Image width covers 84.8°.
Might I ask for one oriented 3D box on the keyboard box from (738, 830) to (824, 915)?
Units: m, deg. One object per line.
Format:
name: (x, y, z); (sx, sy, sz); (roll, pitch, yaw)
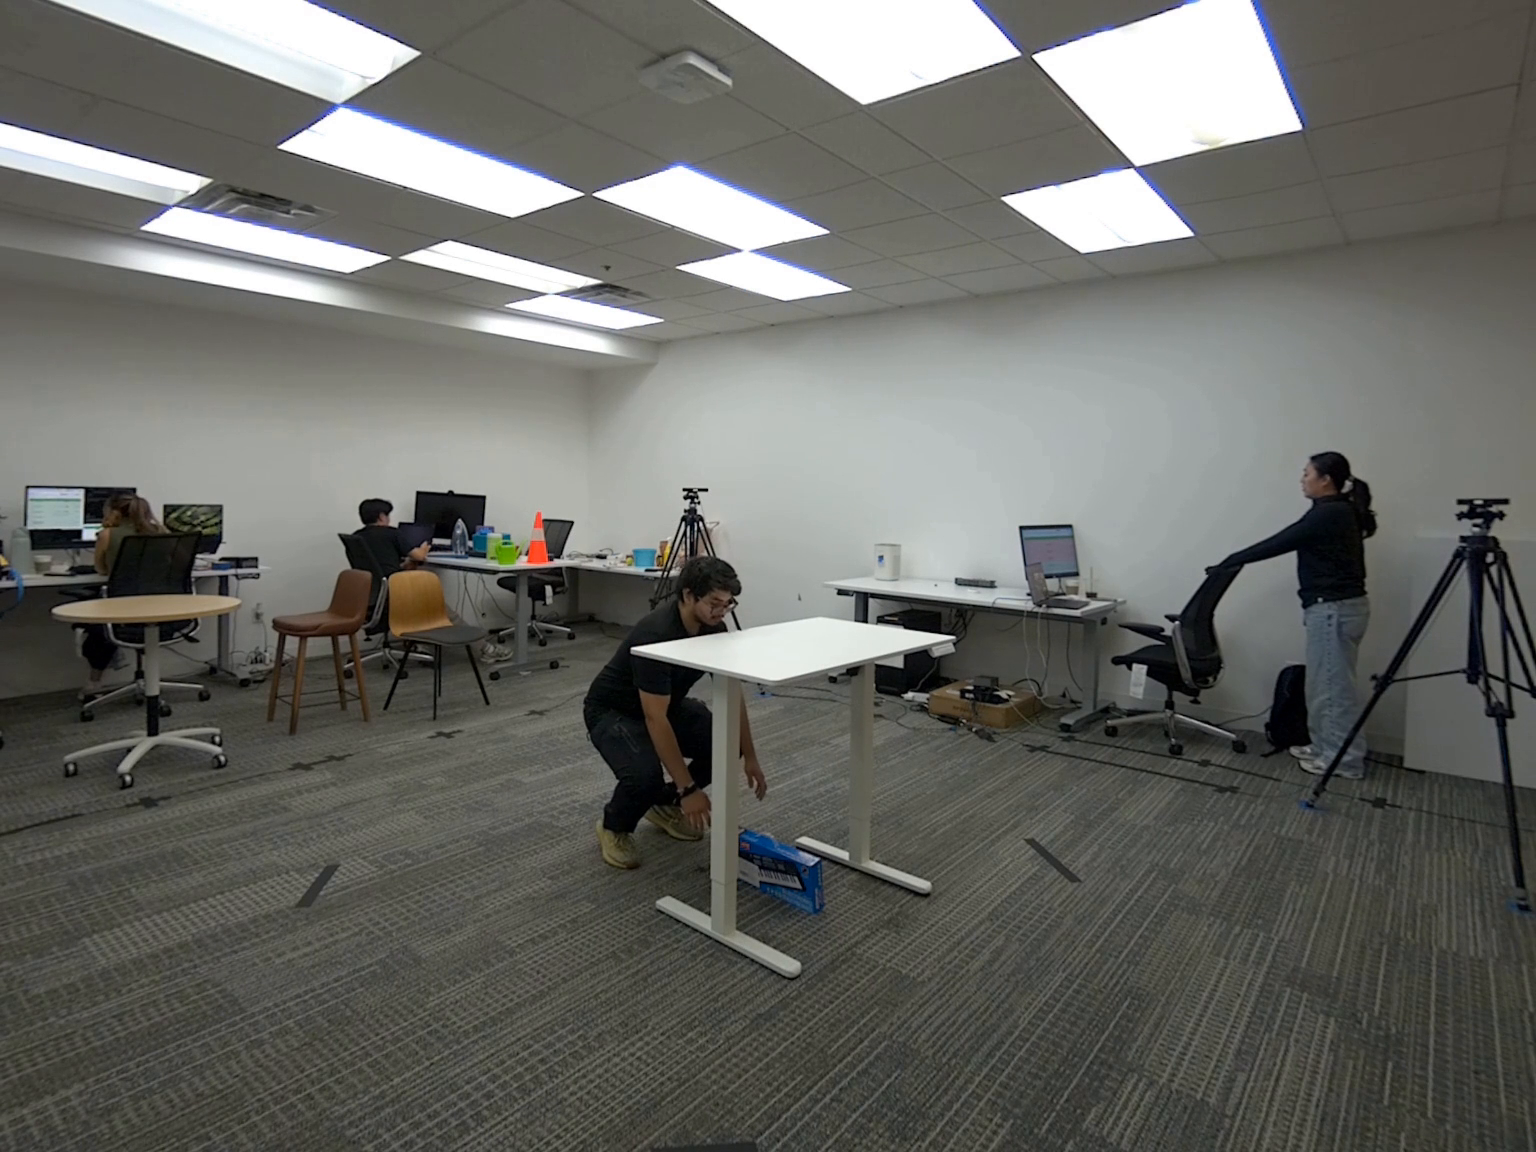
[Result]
keyboard box: (-0.006, 1.002, 2.951); (0.452, 0.174, 0.057); (6, 12, 43)
